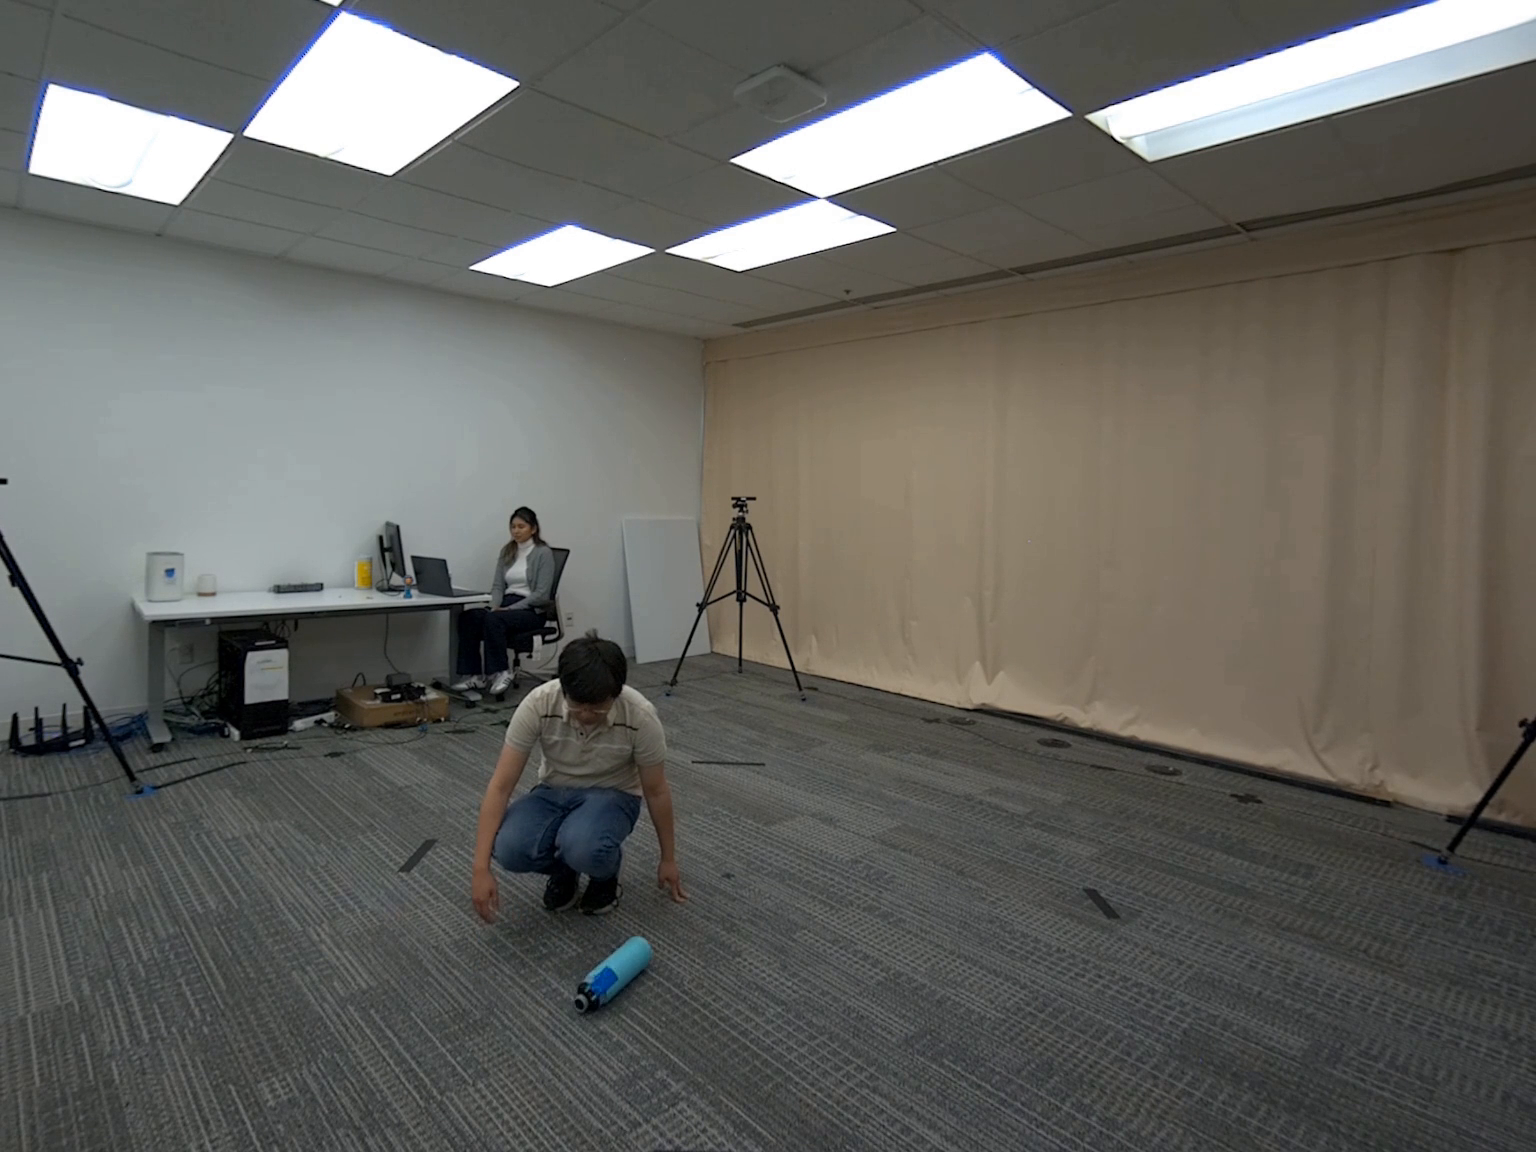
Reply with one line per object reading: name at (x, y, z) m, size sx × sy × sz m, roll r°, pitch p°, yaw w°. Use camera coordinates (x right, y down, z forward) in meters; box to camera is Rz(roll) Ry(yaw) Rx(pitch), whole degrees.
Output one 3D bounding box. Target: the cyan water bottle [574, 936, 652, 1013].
cyan water bottle at (-0.449, 1.128, 2.355) m, size 0.094 × 0.092 × 0.279 m, roll 3°, pitch 8°, yaw 22°
